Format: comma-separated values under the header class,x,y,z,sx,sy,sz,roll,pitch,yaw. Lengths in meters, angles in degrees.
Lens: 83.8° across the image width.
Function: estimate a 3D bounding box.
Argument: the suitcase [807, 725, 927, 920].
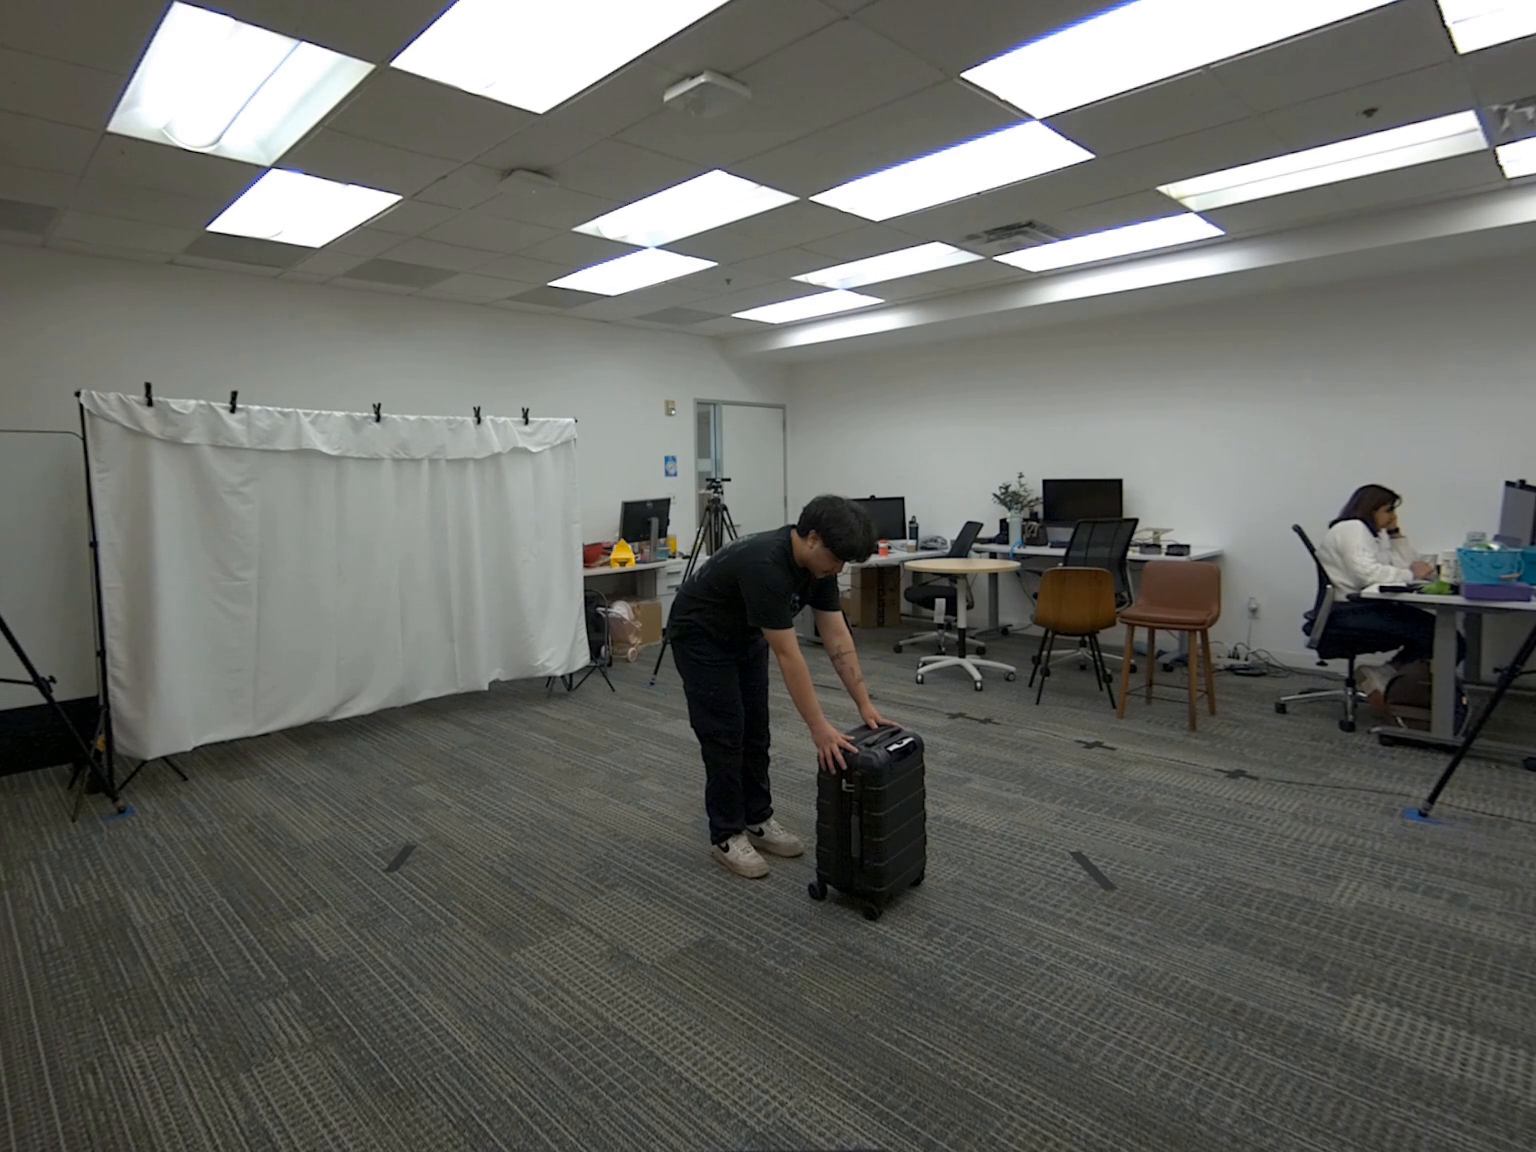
class,x,y,z,sx,sy,sz,roll,pitch,yaw
suitcase,0.353,0.794,2.844,0.256,0.547,0.366,4,6,37
